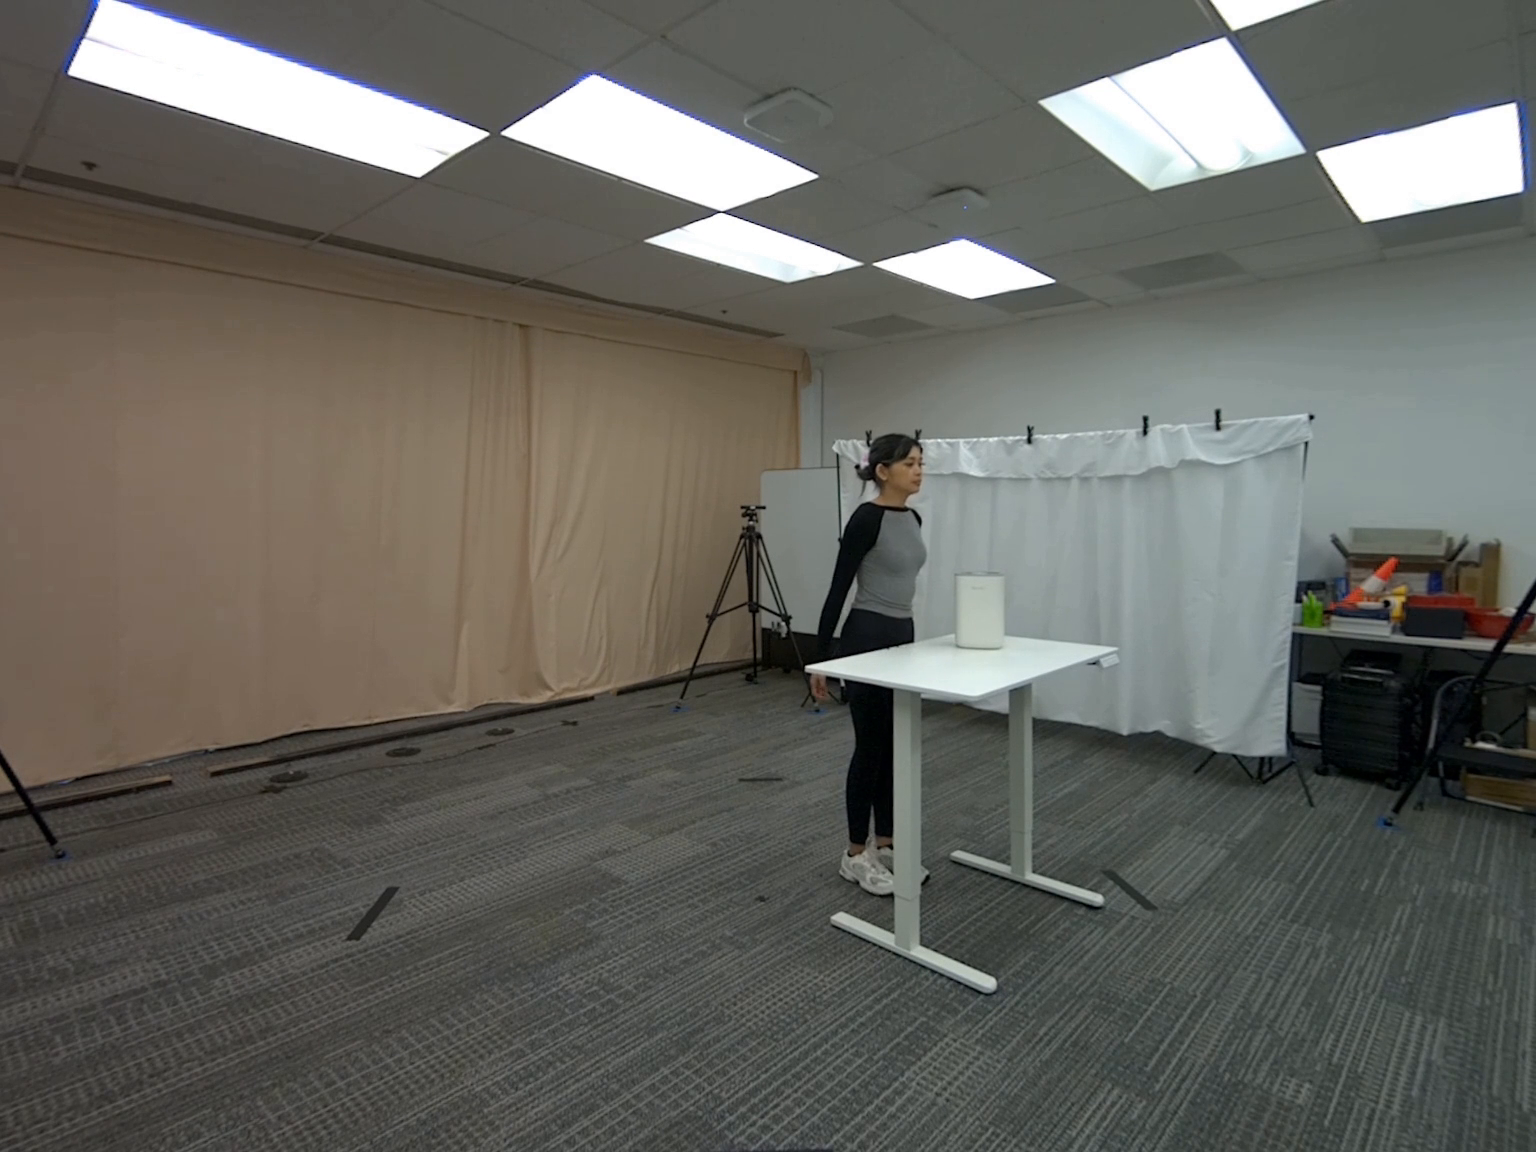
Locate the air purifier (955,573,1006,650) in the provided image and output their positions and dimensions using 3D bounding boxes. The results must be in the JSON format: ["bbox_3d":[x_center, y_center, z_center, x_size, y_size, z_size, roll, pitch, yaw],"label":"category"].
[{"bbox_3d":[0.758,0.121,3.029,0.174,0.265,0.169,1,4,16],"label":"air purifier"}]
